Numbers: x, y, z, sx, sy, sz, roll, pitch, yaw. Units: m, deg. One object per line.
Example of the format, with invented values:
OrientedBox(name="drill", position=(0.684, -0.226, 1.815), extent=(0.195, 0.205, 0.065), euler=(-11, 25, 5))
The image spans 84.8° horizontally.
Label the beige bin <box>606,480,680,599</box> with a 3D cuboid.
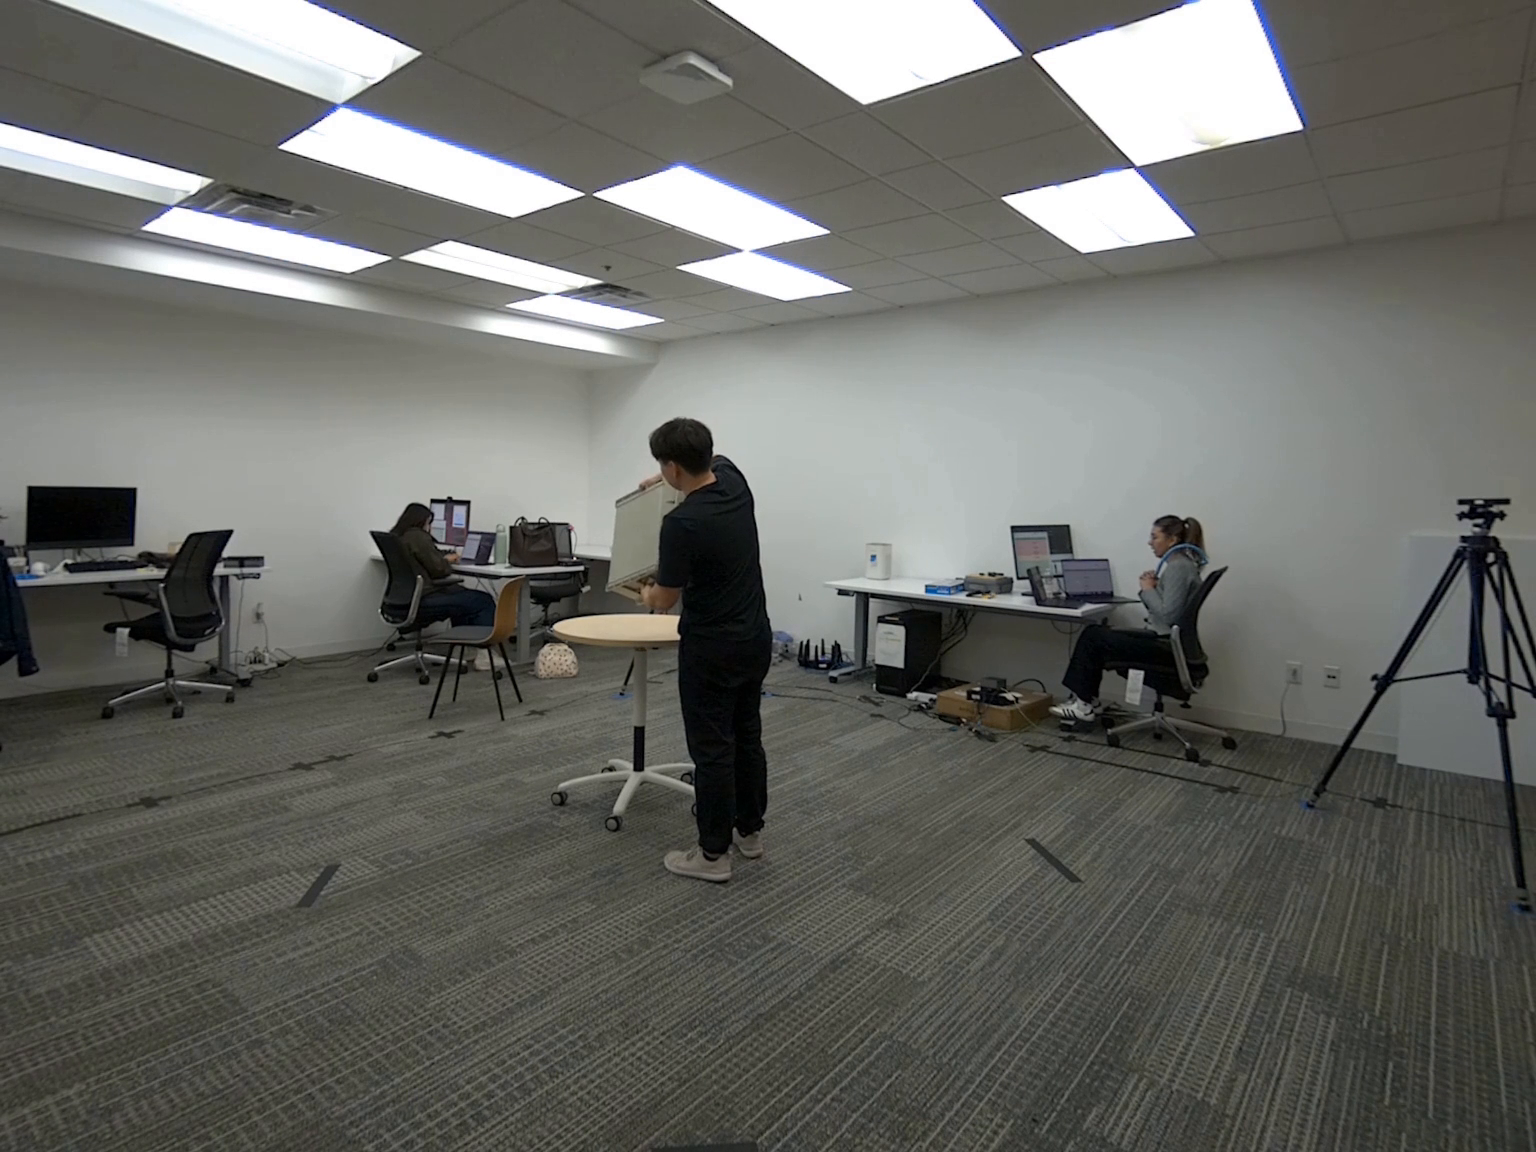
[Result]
OrientedBox(name="beige bin", position=(-0.469, -0.148, 3.433), extent=(0.384, 0.431, 0.181), euler=(-20, -33, 40))
